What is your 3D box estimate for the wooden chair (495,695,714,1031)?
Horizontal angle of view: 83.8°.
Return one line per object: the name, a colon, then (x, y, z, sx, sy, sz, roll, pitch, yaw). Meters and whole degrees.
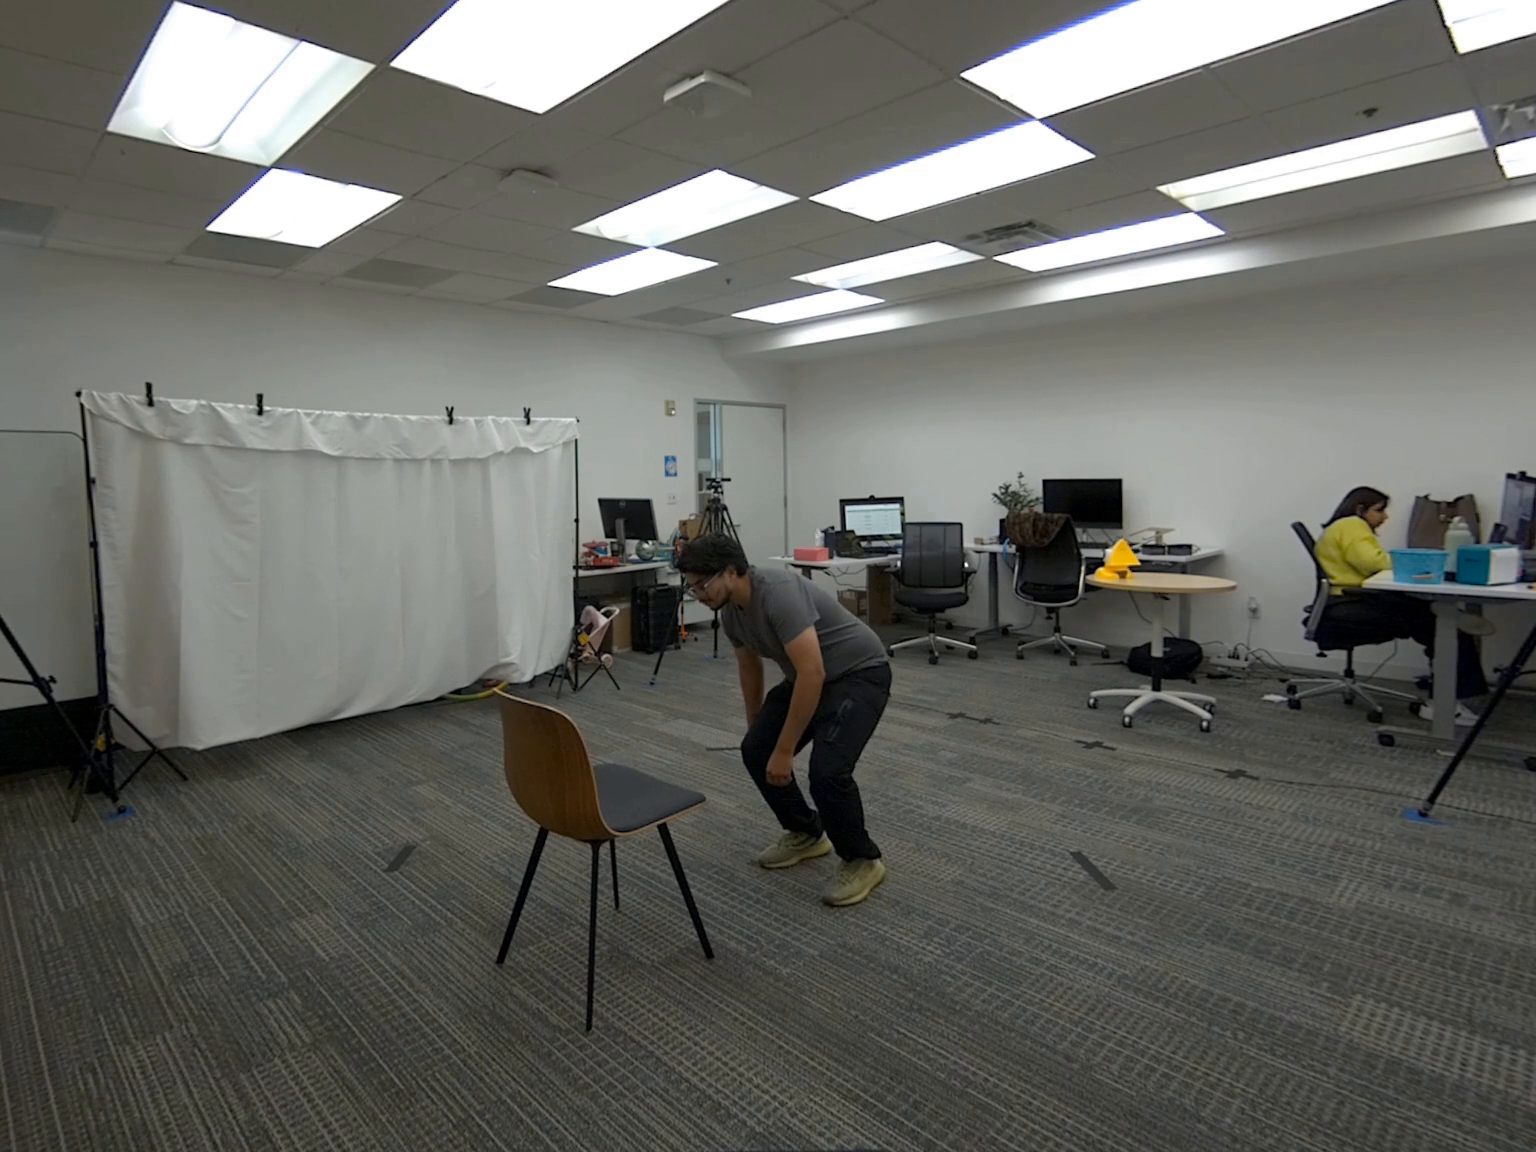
wooden chair: (-0.474, 0.699, 2.462, 0.493, 0.871, 0.511, 3, 11, 43)
